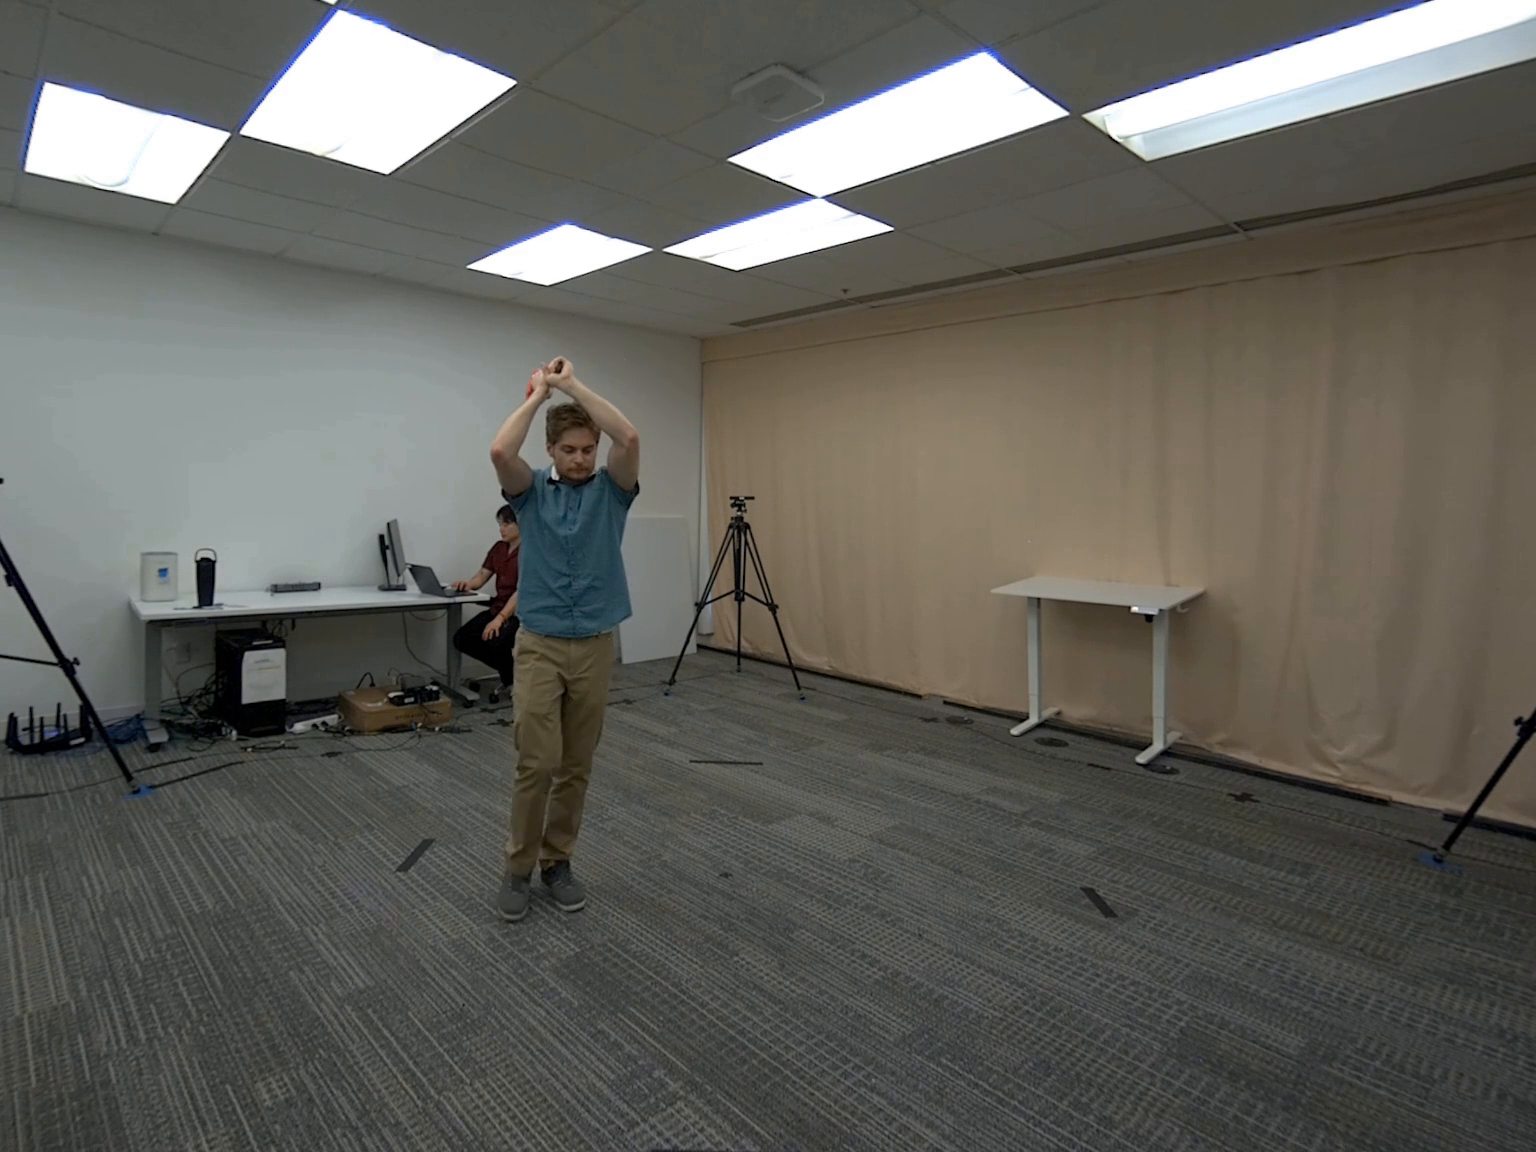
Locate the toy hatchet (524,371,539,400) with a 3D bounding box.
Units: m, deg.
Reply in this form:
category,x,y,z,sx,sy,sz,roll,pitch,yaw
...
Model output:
category,x,y,z,sx,sy,sz,roll,pitch,yaw
toy hatchet,-0.772,-0.683,2.841,0.029,0.133,0.272,16,-27,-29
